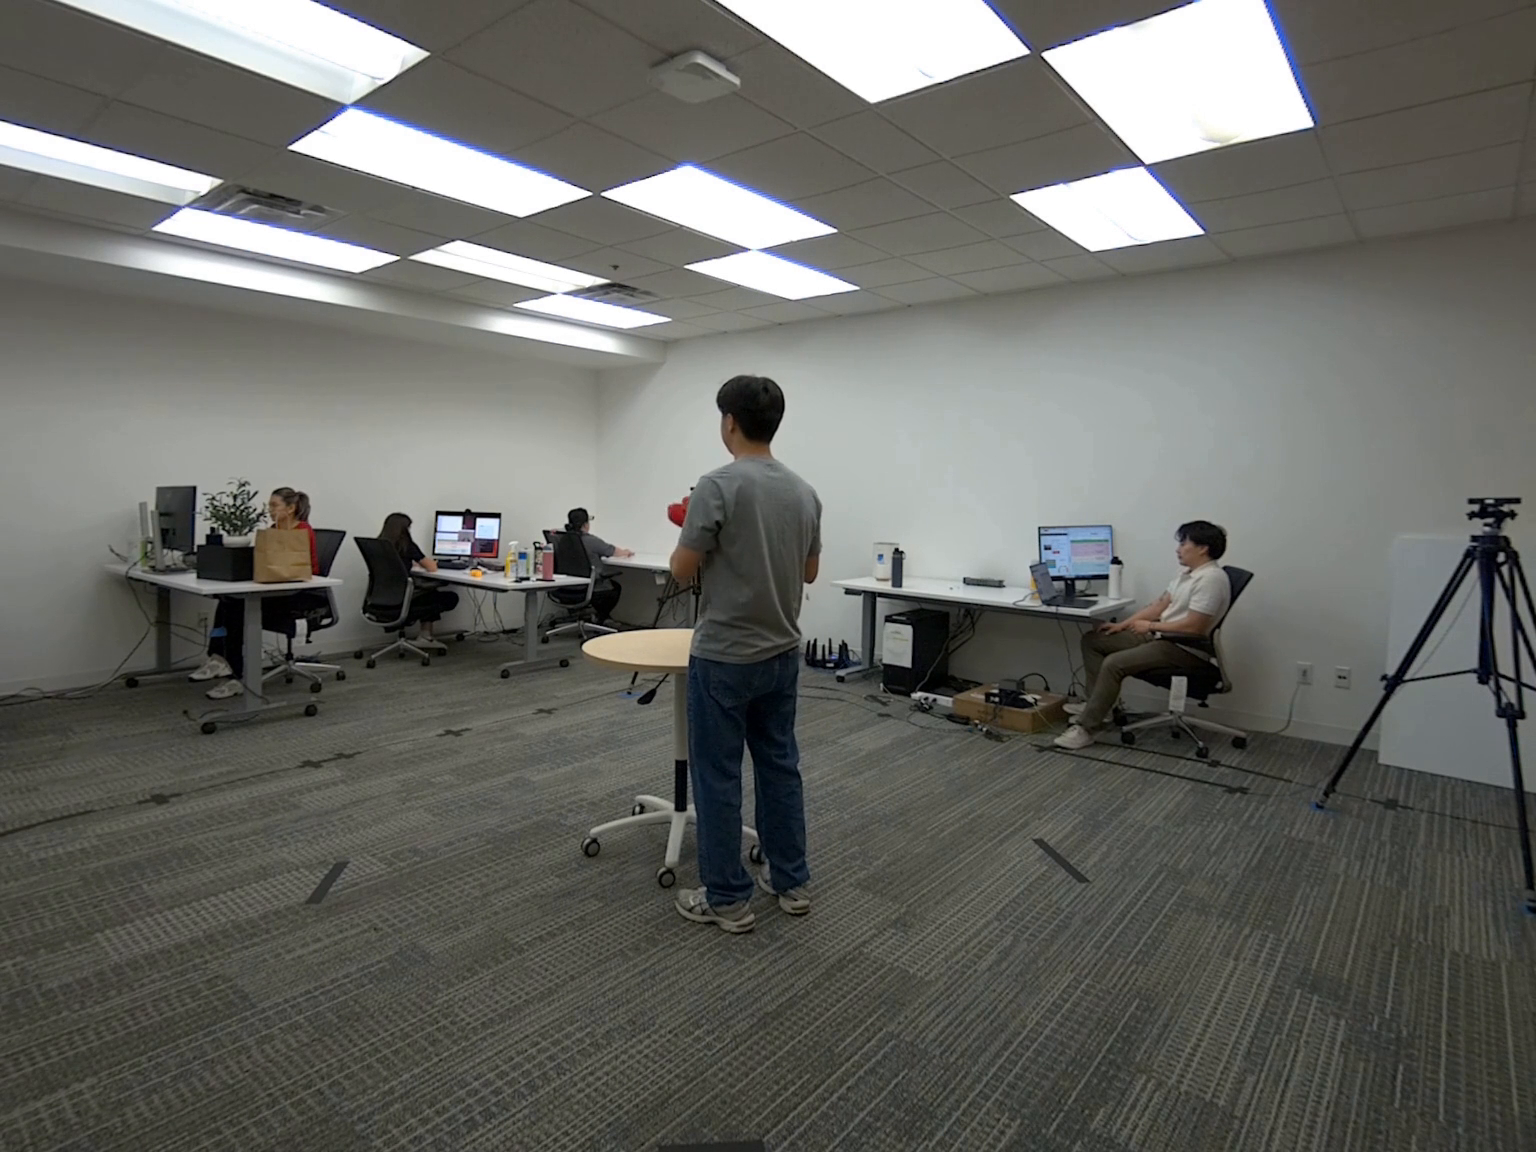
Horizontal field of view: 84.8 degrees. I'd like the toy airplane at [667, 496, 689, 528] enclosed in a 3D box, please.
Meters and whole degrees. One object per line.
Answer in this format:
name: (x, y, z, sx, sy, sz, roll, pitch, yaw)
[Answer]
toy airplane: (-0.221, -0.160, 3.027, 0.157, 0.263, 0.246, -38, -12, 34)
